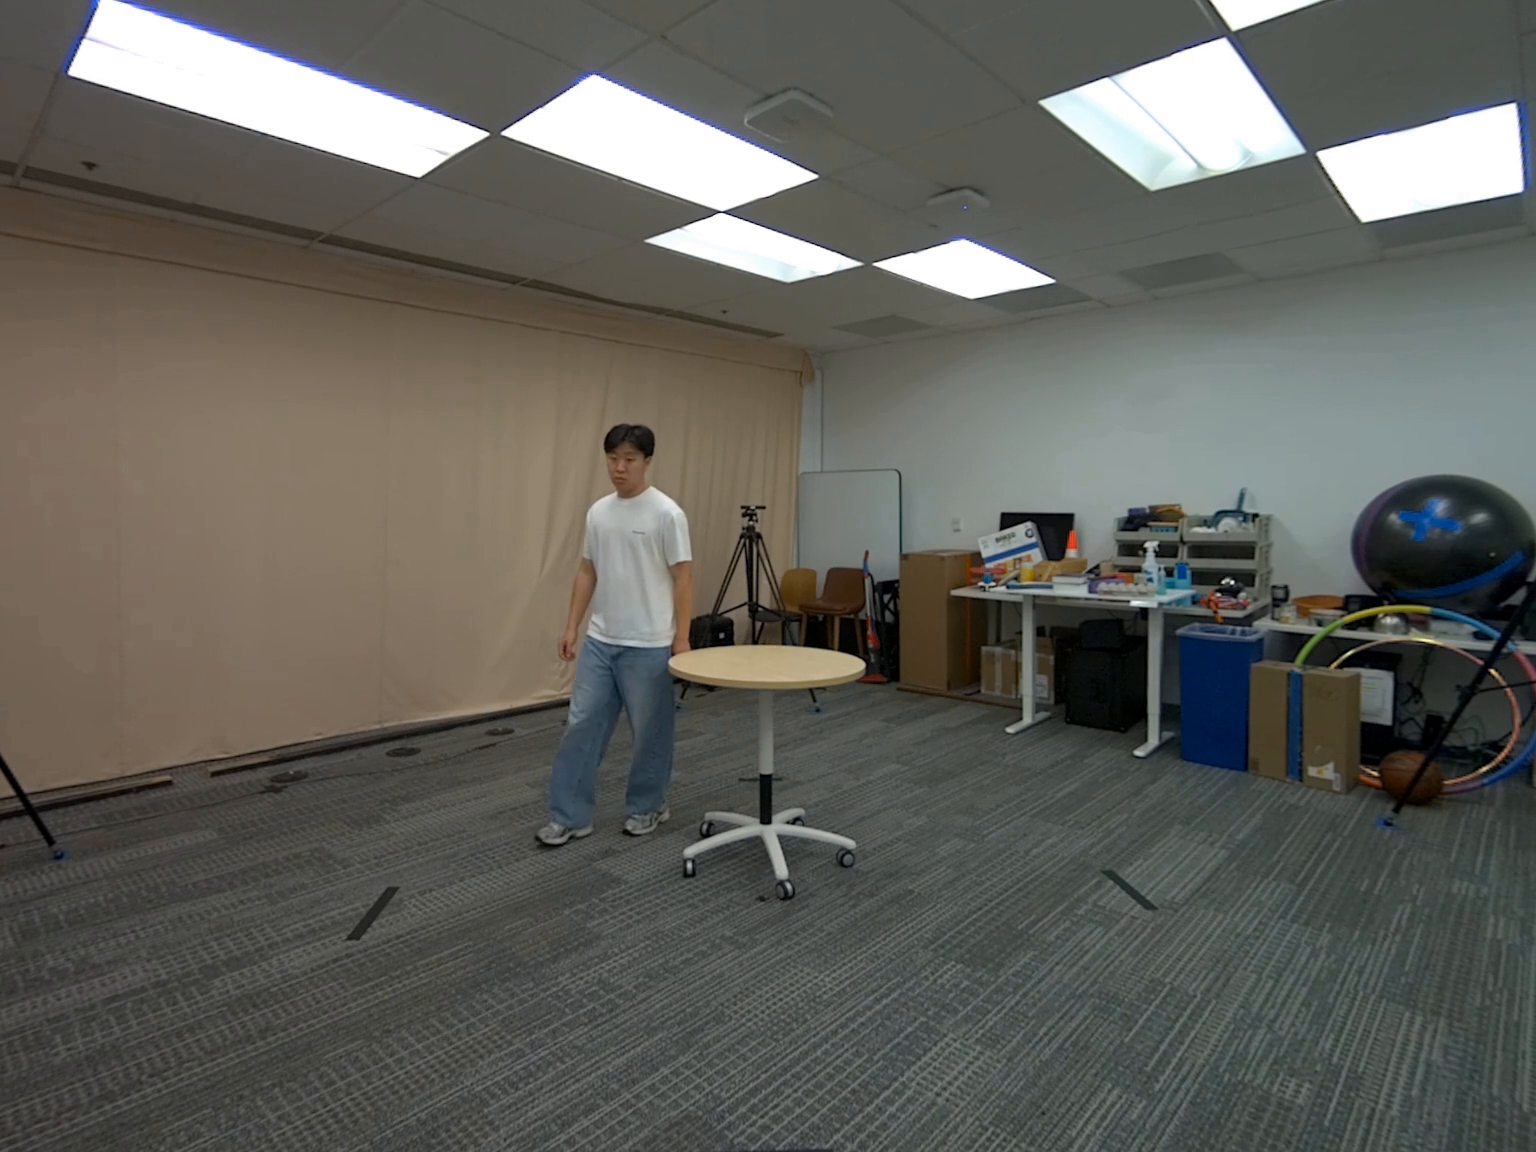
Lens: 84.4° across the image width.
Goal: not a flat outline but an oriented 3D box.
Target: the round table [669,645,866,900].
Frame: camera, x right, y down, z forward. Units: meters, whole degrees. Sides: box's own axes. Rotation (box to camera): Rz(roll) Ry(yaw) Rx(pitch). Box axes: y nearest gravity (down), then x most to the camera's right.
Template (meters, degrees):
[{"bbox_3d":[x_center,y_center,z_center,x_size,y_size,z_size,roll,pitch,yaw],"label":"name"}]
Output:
[{"bbox_3d":[-0.001,0.728,3.305,0.763,0.792,0.766,0,4,-2],"label":"round table"}]
